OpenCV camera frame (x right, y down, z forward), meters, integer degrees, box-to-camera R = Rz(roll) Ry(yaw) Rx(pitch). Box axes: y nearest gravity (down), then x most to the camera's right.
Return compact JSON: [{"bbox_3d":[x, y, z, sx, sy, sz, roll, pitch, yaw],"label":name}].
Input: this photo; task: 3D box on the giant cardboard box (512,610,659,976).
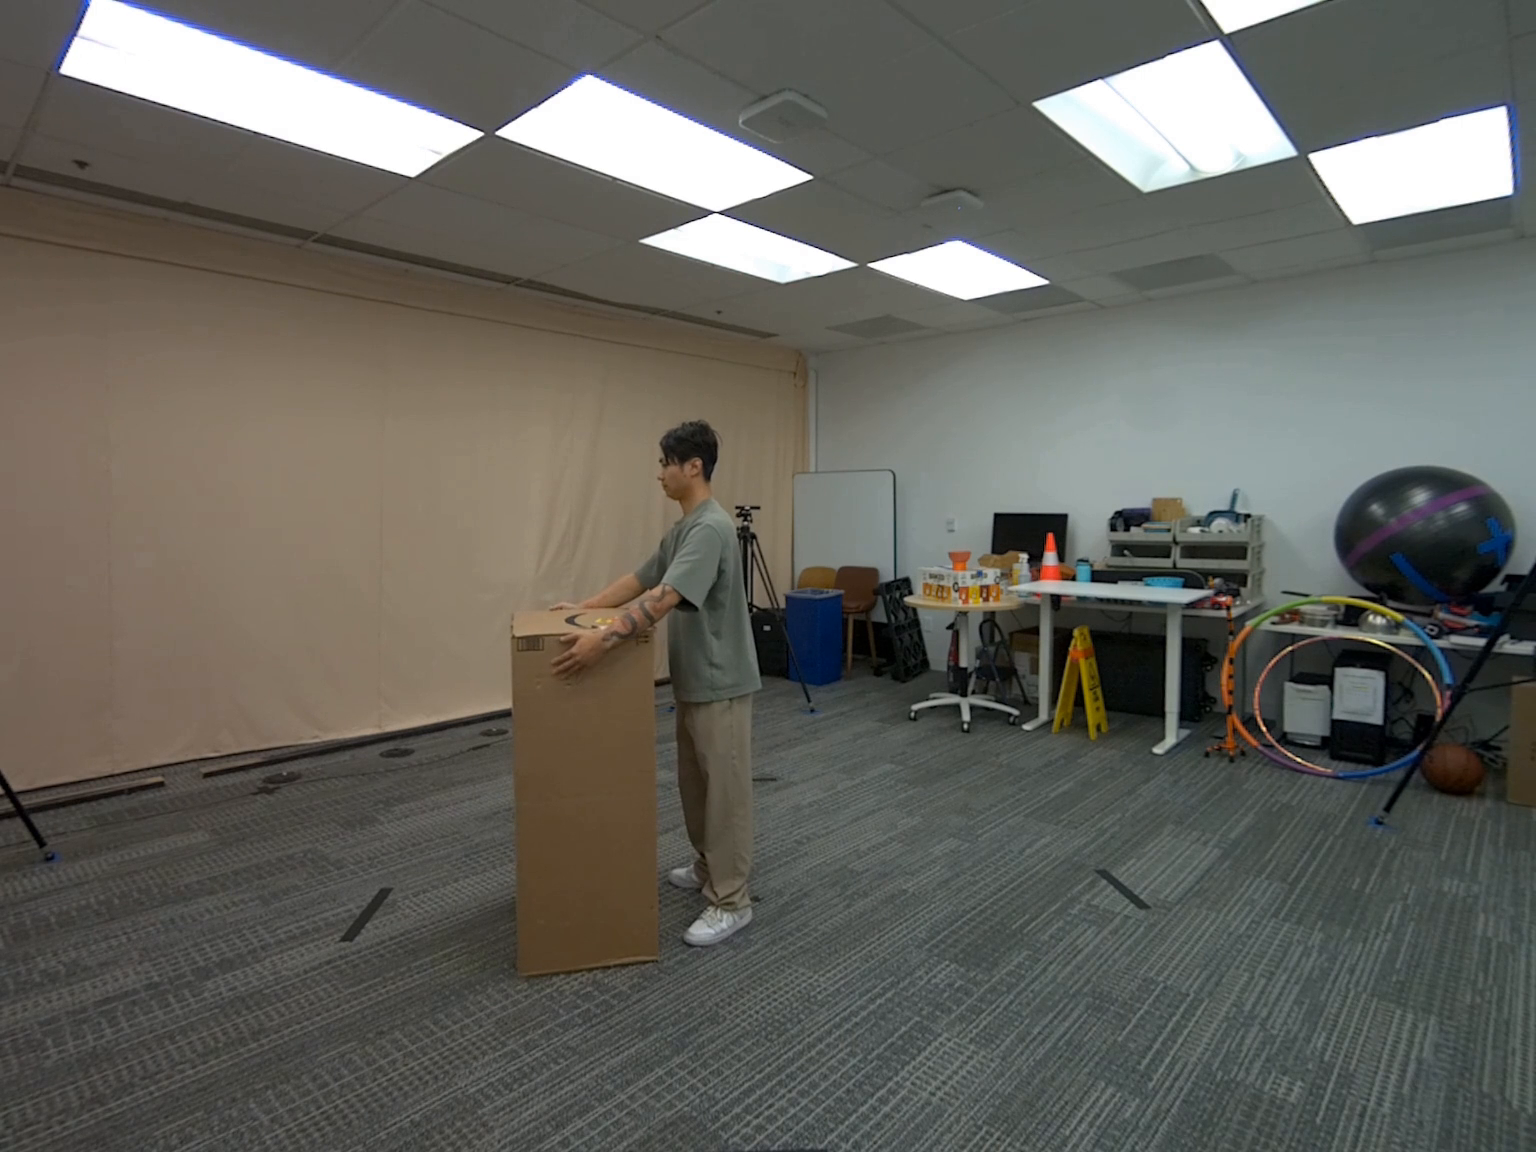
[{"bbox_3d":[-0.616,0.656,2.794,0.421,1.024,0.586,0,3,-13],"label":"giant cardboard box"}]
